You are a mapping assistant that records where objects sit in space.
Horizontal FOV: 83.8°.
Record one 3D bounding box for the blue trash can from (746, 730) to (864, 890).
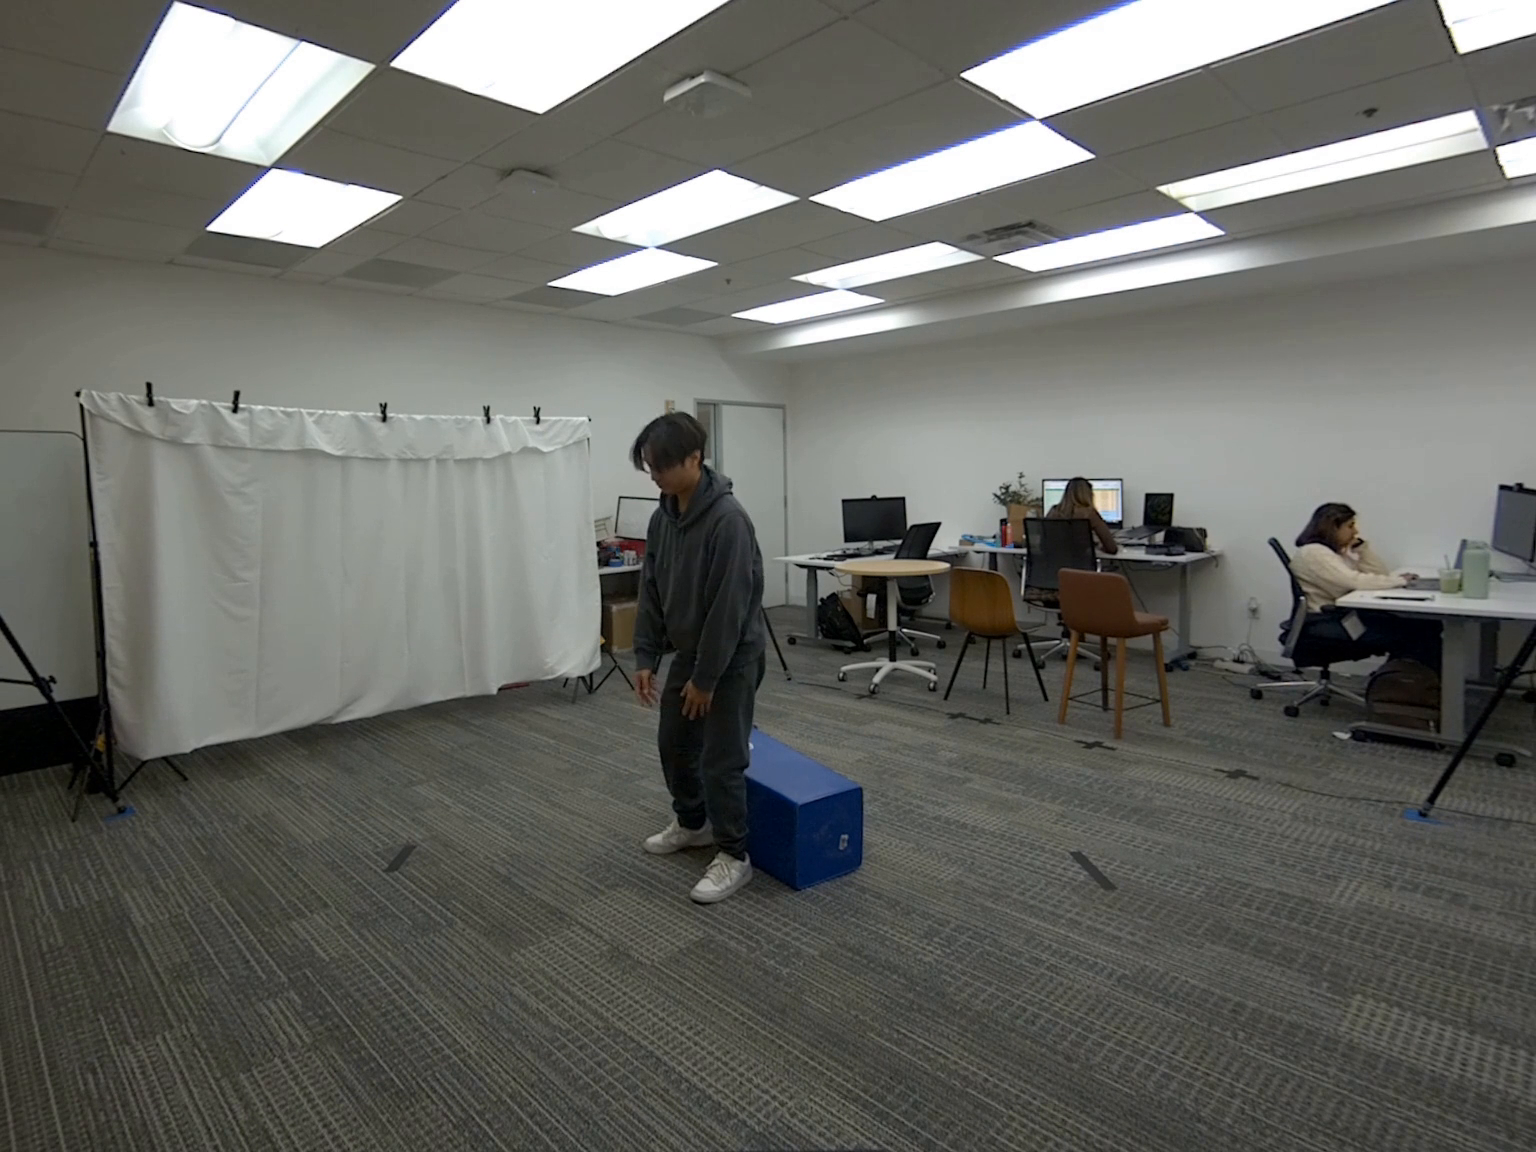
[{"bbox_3d":[0.013,0.856,3.247,0.365,0.376,0.736,-4,9,-35],"label":"blue trash can"}]
